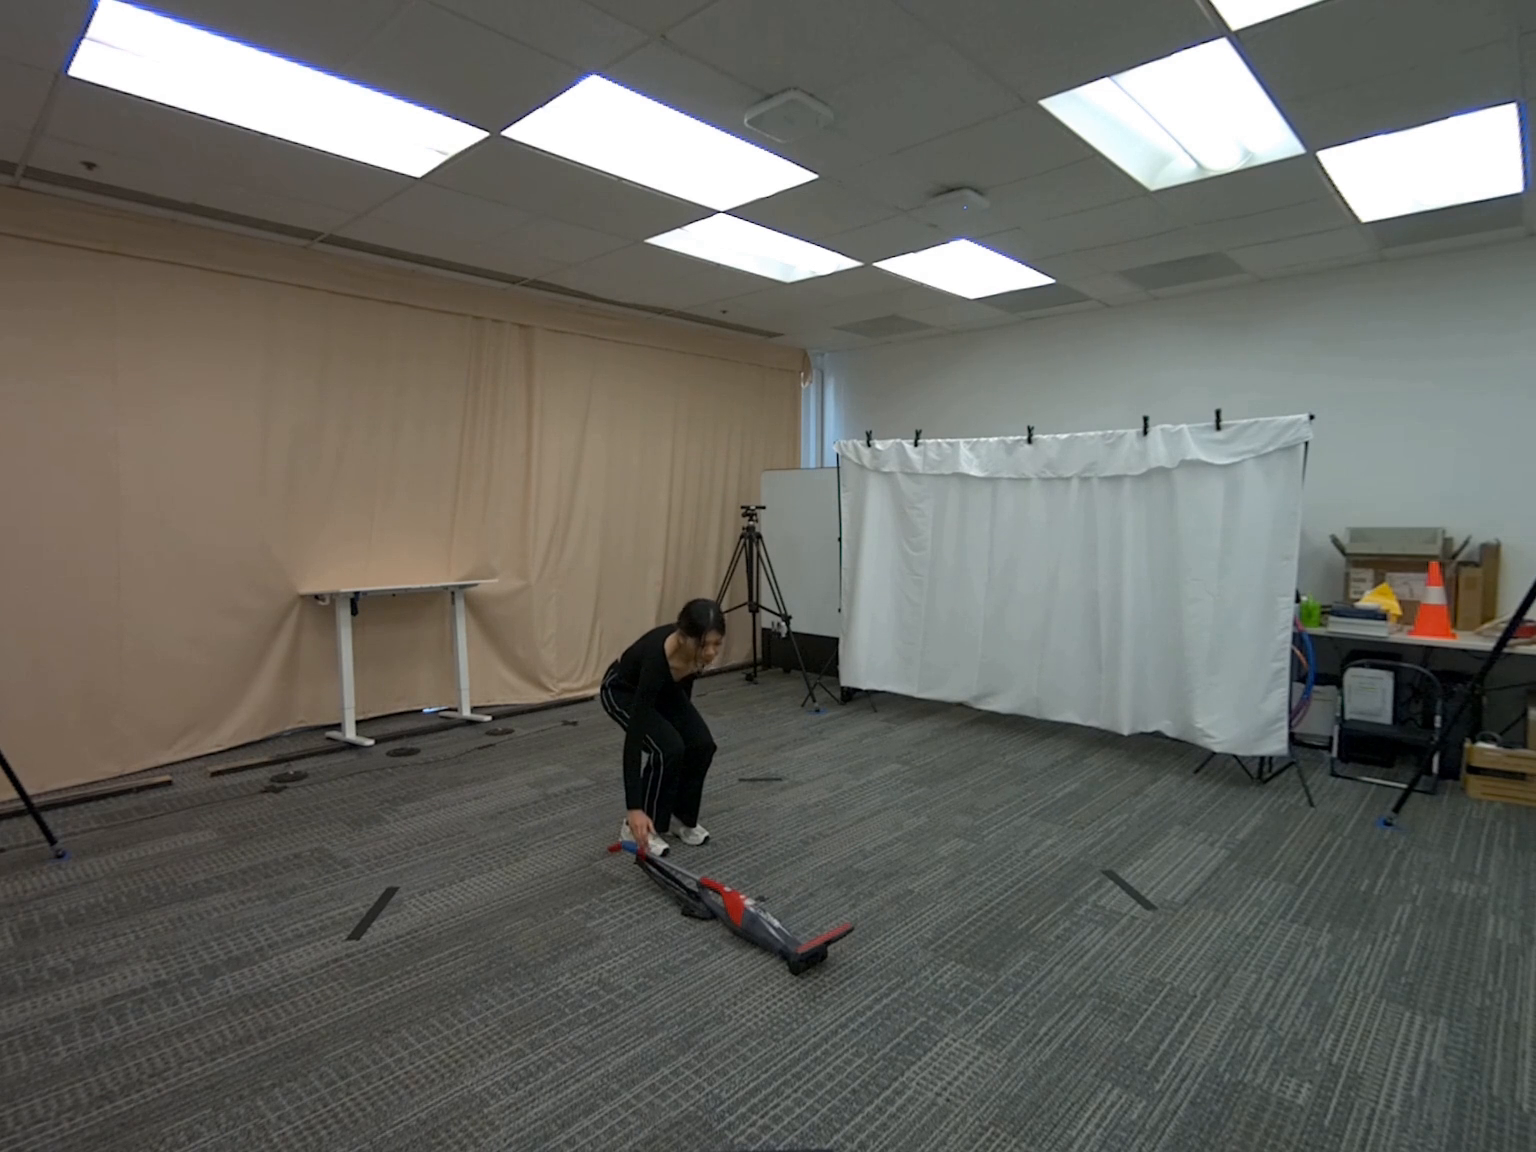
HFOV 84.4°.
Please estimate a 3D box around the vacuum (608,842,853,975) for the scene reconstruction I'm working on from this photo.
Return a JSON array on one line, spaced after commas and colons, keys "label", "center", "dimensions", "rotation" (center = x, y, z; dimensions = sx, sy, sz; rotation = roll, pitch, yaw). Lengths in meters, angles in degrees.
[{"label": "vacuum", "center": [-0.219, 1.097, 2.879], "dimensions": [0.245, 0.143, 1.084], "rotation": [-6, 7, -44]}]
